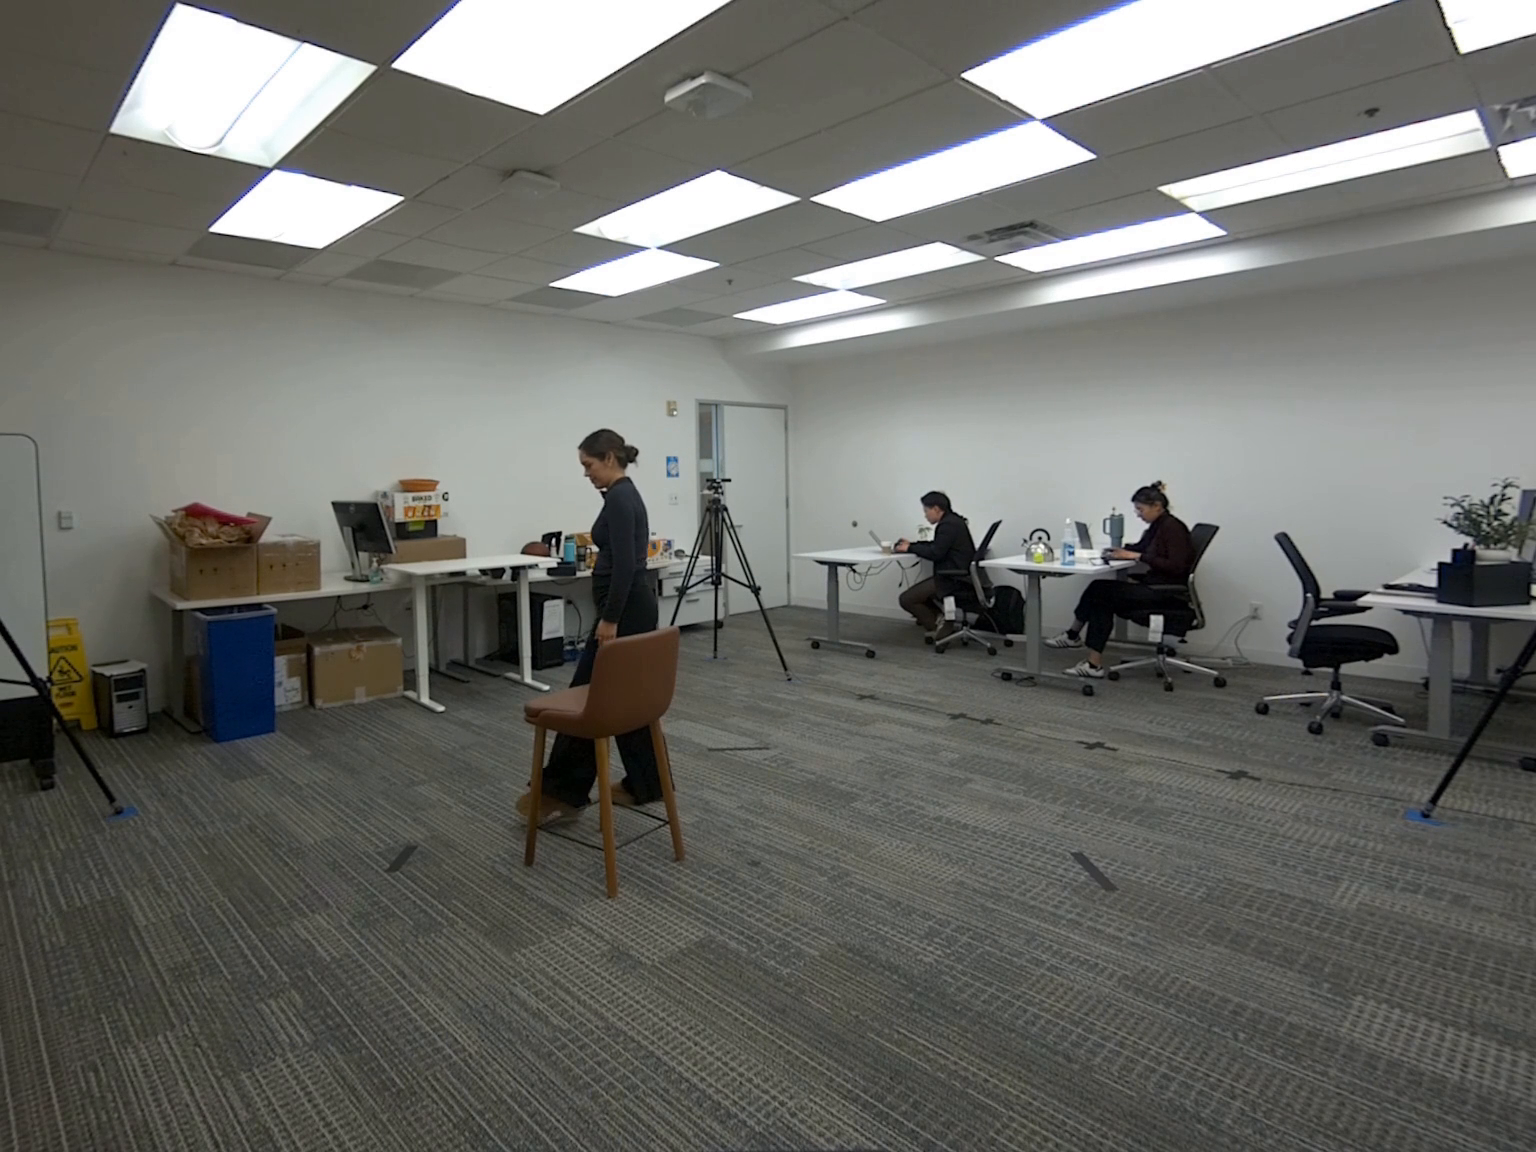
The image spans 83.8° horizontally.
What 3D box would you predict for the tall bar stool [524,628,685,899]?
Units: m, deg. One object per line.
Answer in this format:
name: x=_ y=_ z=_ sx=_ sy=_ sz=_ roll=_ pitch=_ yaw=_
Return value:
tall bar stool: x=-0.599 y=0.619 z=3.116 sx=0.482 sy=0.886 sz=0.445 roll=4 pitch=6 yaw=37
